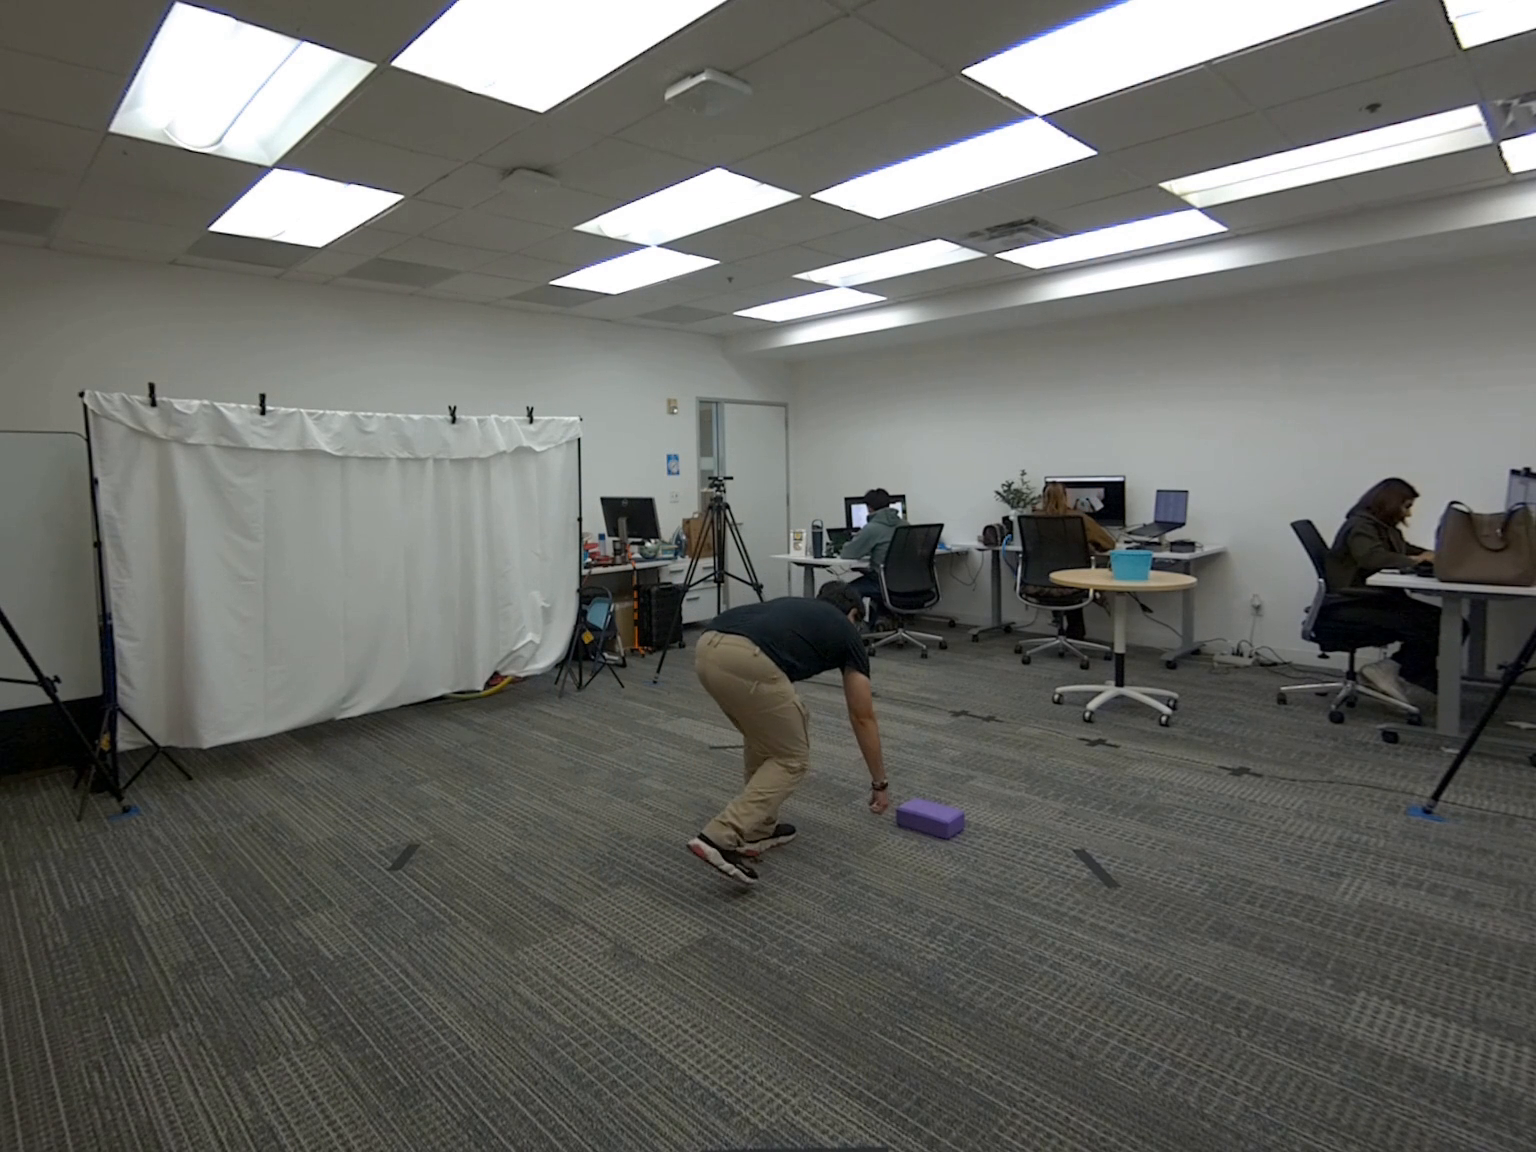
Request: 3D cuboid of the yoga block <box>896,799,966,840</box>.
[{"bbox_3d":[0.639,0.951,3.371,0.236,0.076,0.145,5,7,41],"label":"yoga block"}]
